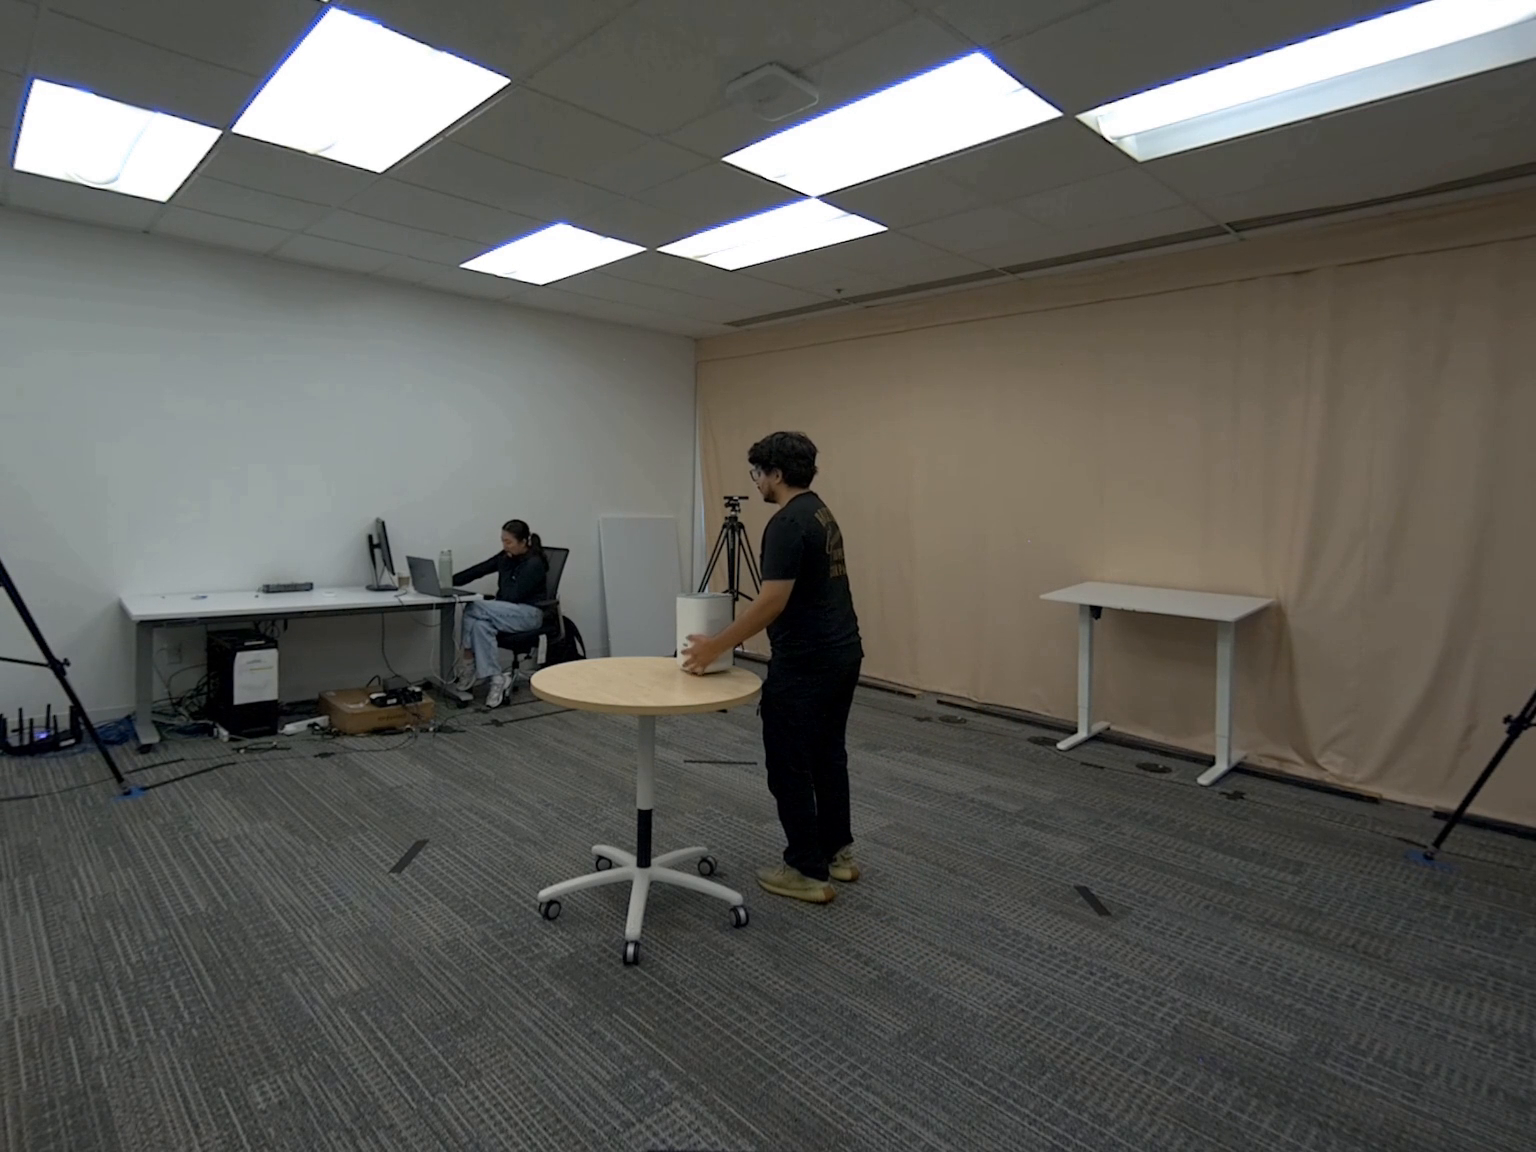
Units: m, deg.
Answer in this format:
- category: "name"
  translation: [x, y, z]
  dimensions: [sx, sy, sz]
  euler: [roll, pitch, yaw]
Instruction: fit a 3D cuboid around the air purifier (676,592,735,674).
- category: "air purifier"
  translation: [-0.222, 0.192, 2.964]
  dimensions: [0.168, 0.265, 0.175]
  euler: [-2, 2, -40]
